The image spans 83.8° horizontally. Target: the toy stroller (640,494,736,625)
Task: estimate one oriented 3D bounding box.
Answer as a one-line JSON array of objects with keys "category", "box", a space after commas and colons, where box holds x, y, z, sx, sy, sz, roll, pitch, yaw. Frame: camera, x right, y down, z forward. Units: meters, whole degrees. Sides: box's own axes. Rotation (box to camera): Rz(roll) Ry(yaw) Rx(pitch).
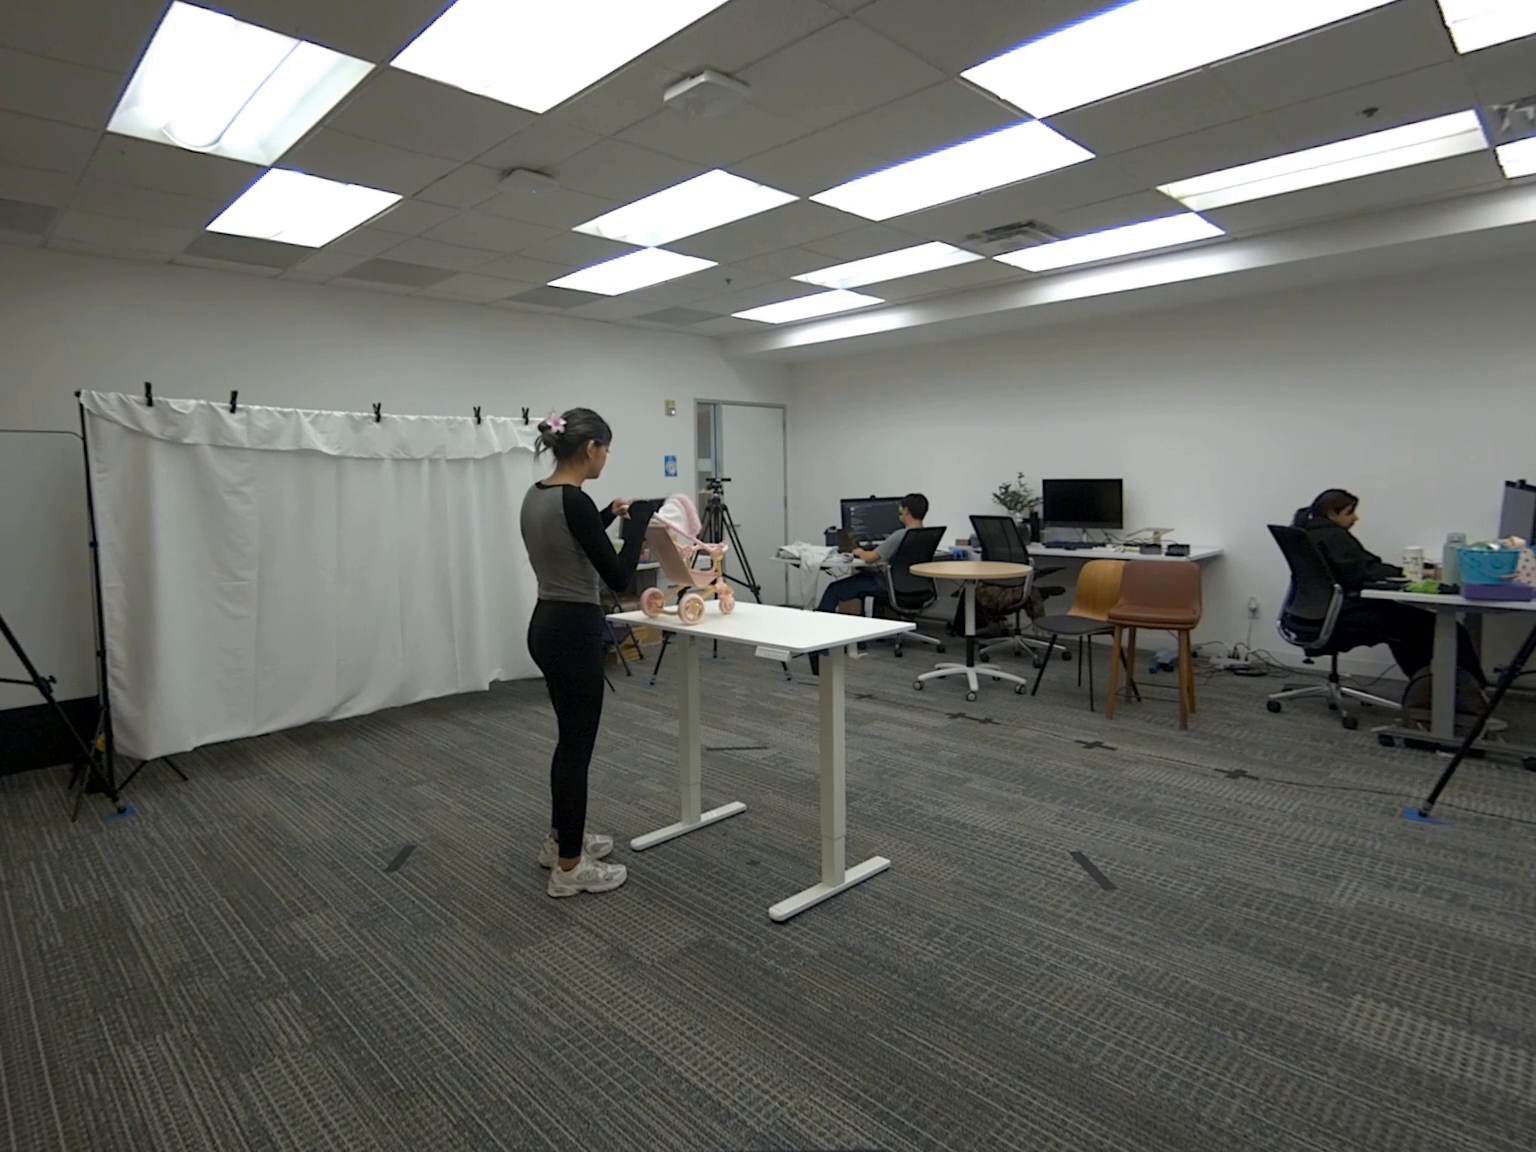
[{"category": "toy stroller", "box": [-0.302, -0.063, 3.130, 0.336, 0.528, 0.289, -22, 15, -32]}]
